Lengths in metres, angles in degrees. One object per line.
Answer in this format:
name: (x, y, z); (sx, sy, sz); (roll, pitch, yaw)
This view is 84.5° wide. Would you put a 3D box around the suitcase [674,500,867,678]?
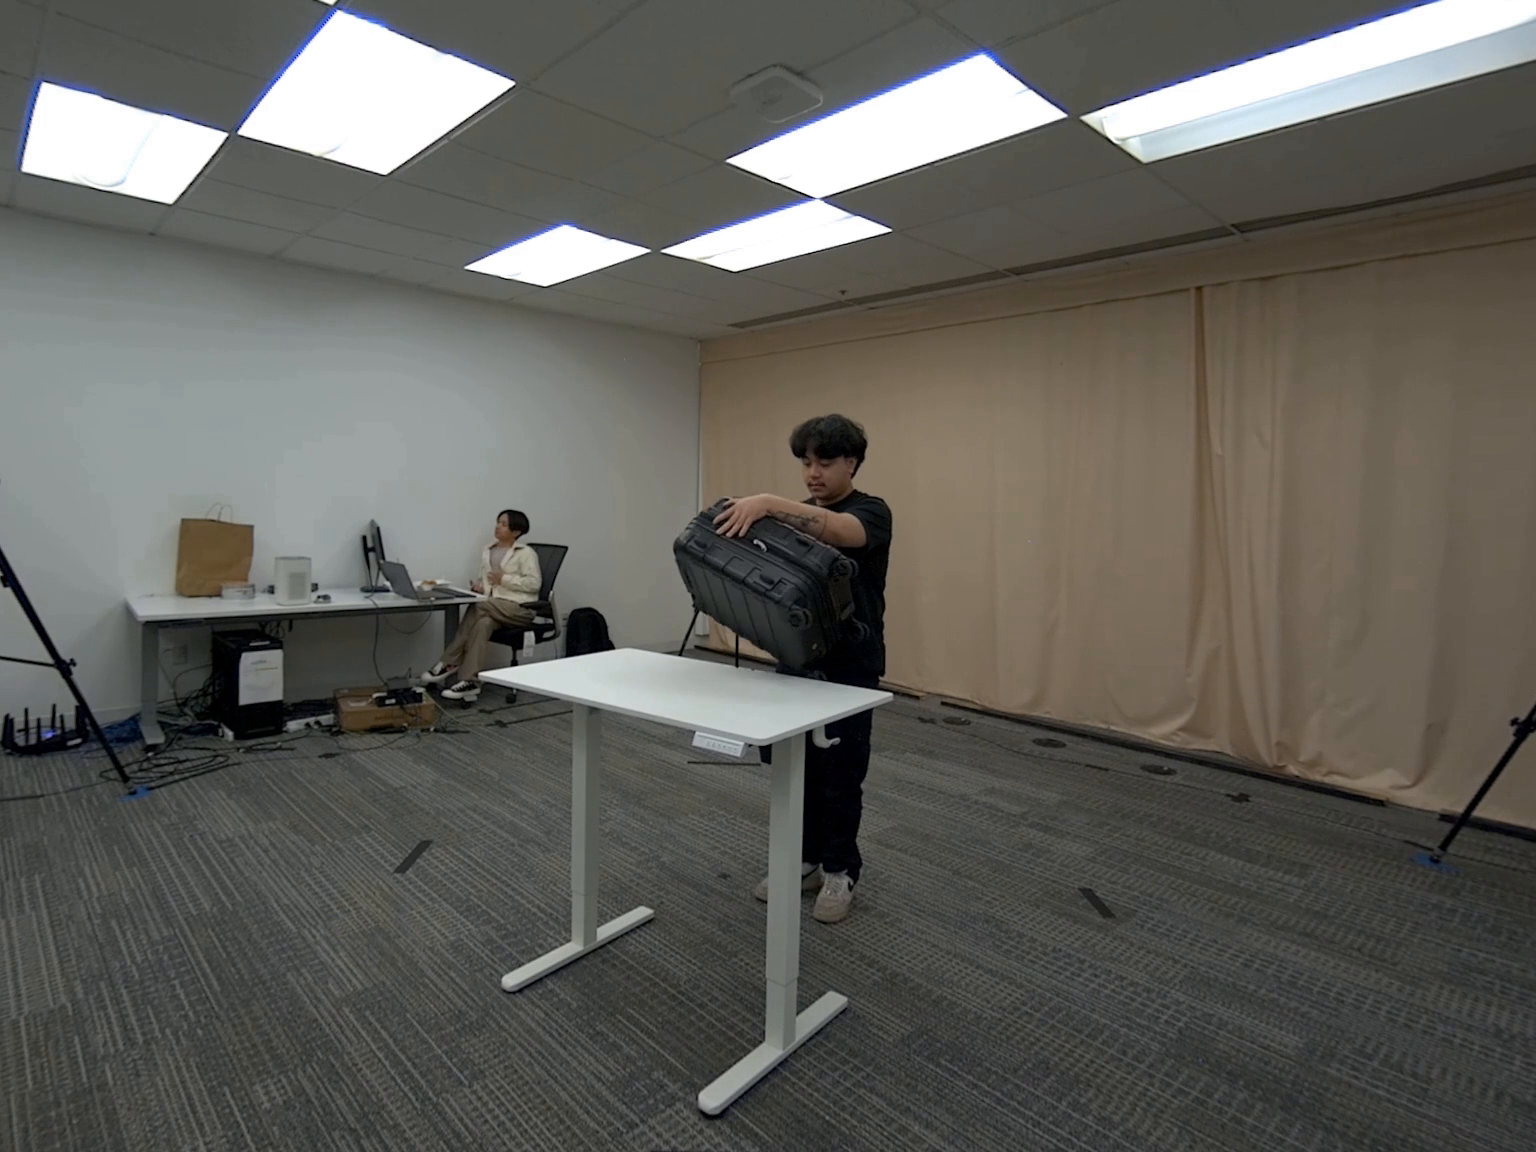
suitcase: (-0.008, 0.029, 2.498); (0.566, 0.365, 0.248); (29, 62, 34)
